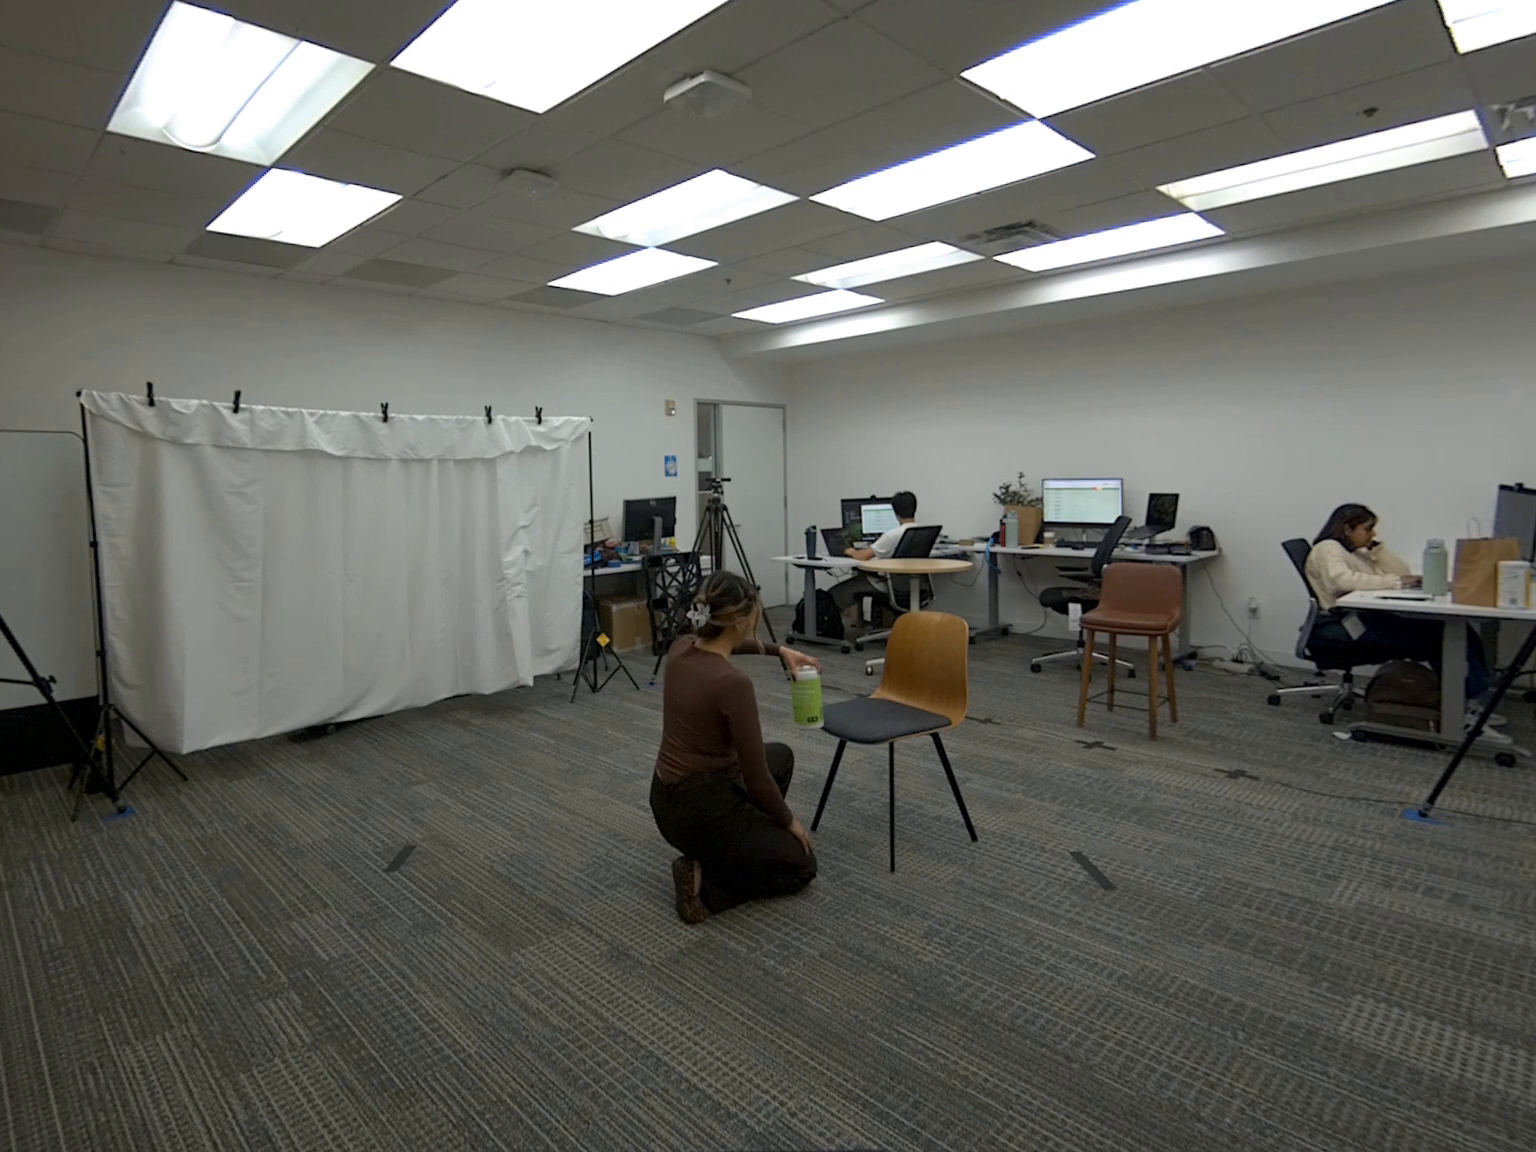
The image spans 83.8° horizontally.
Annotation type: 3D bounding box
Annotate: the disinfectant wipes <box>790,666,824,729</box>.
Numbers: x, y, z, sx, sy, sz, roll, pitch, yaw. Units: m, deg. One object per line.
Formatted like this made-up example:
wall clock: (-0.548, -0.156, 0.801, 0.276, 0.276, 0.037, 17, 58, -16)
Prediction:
disinfectant wipes: (0.149, 0.452, 3.144, 0.118, 0.216, 0.118, -4, 5, -1)
